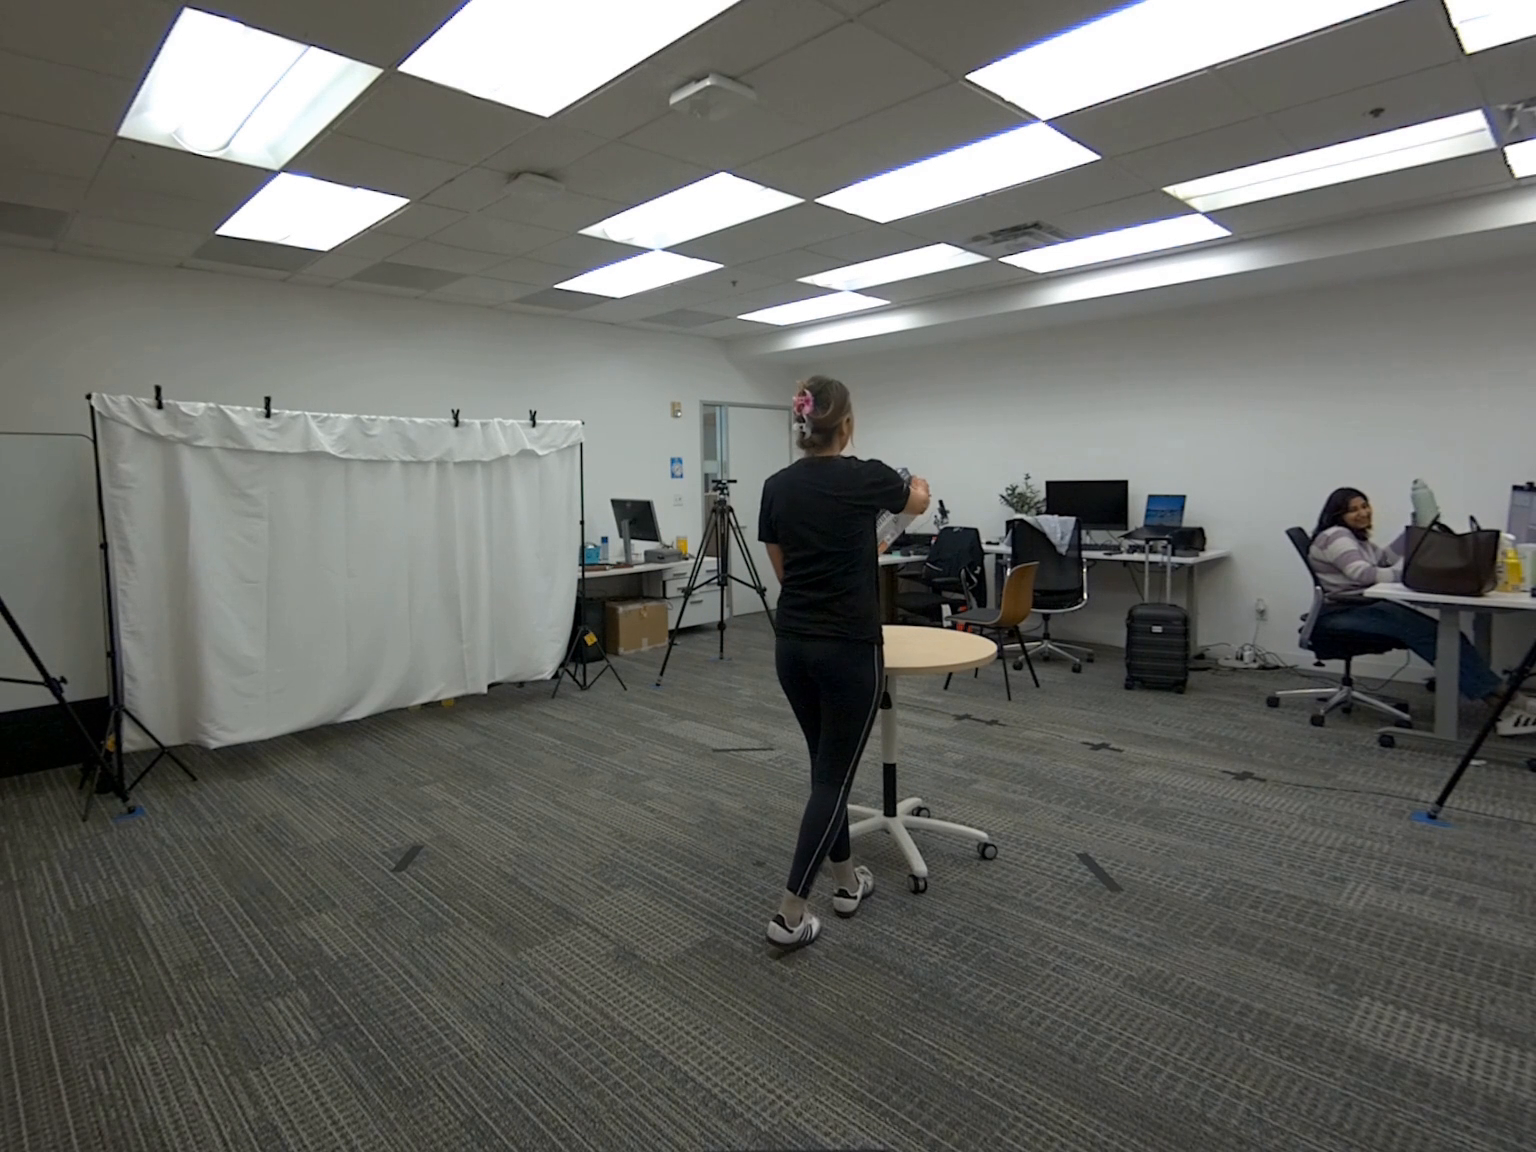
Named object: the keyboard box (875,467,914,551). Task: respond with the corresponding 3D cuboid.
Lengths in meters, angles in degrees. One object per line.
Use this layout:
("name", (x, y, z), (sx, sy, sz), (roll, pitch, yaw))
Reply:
("keyboard box", (0.409, -0.190, 3.129), (0.436, 0.172, 0.060), (-46, 19, -21))
